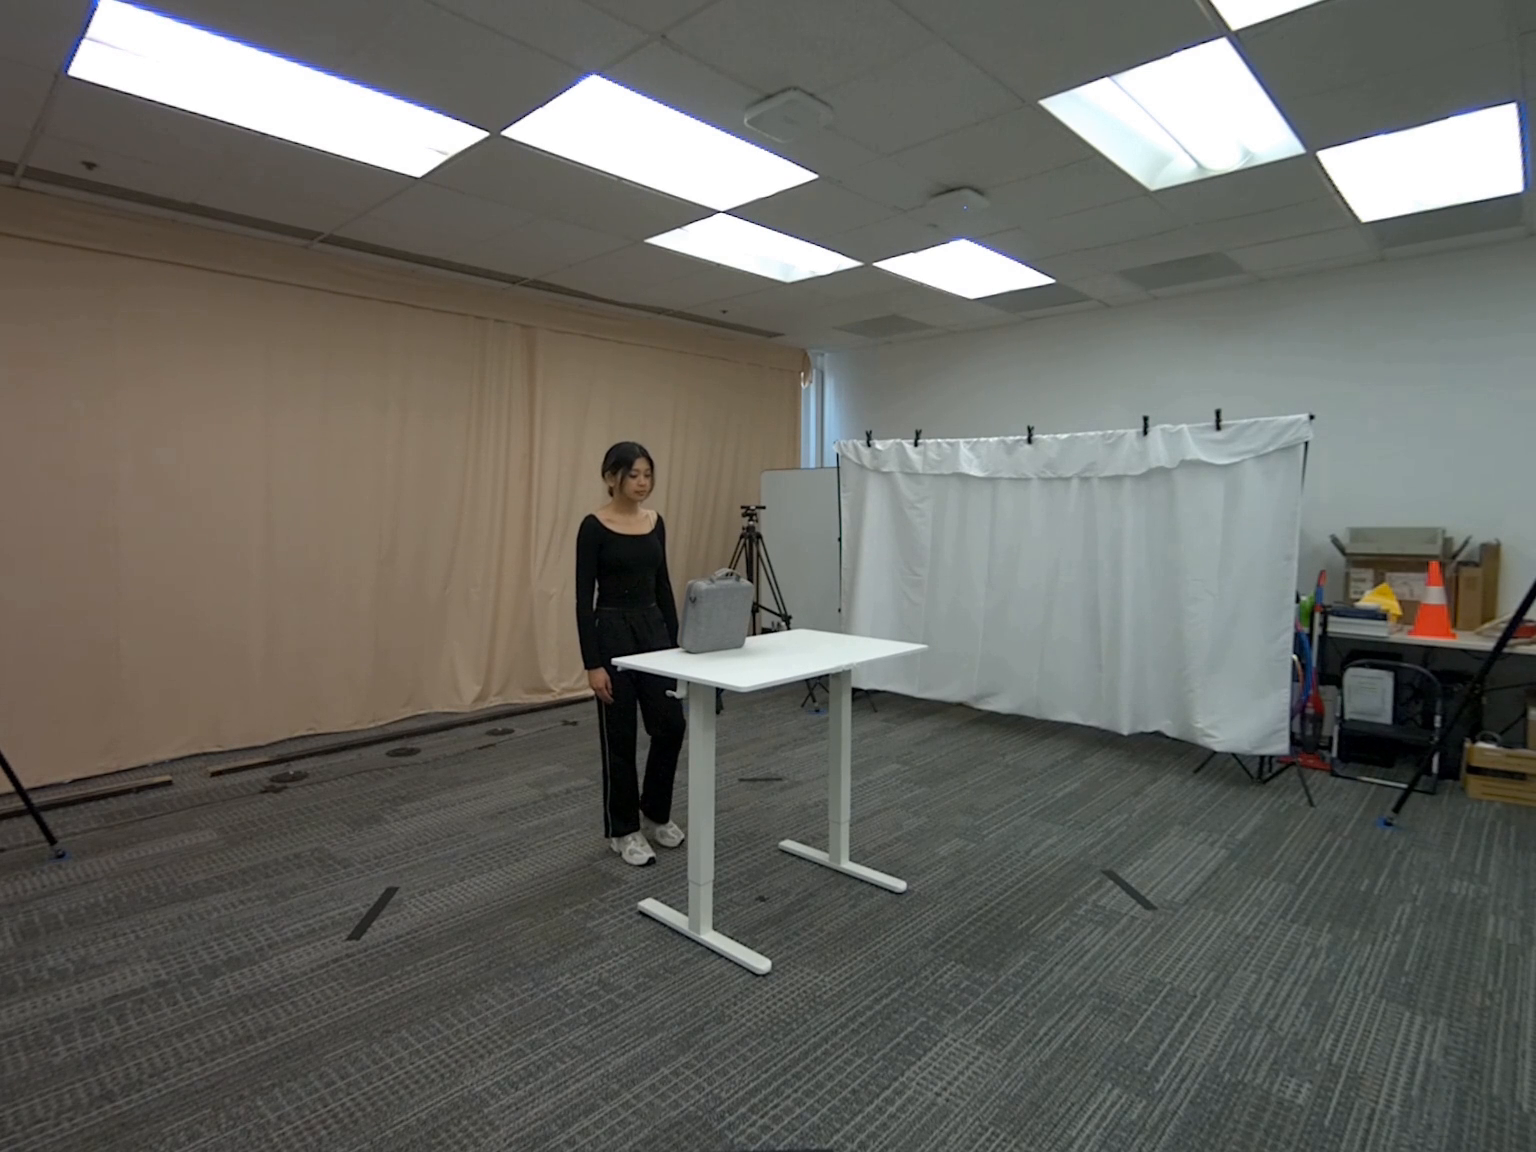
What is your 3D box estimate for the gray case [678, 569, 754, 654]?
[{"bbox_3d":[-0.176,0.133,2.950,0.249,0.259,0.108,-3,18,-39],"label":"gray case"}]
